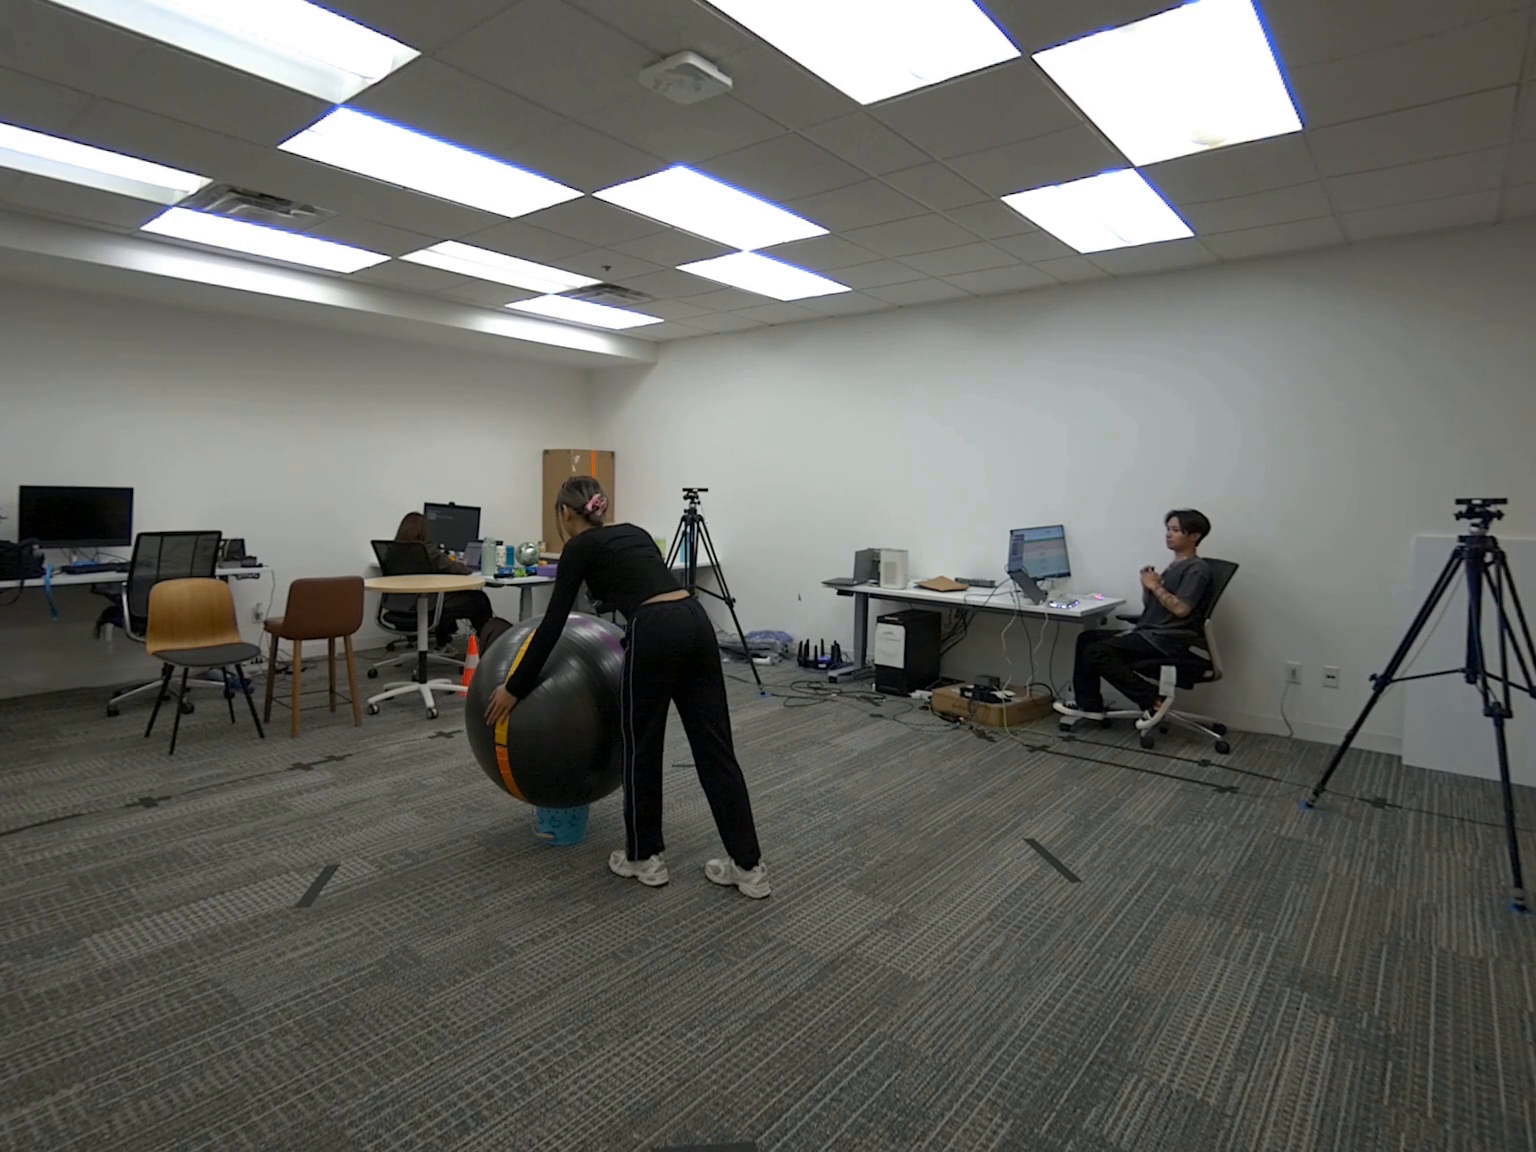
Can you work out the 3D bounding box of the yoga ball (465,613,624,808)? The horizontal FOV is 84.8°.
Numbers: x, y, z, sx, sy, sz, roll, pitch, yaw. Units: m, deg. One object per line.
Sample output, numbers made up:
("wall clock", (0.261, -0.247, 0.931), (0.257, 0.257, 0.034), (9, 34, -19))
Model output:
("yoga ball", (-0.825, 0.521, 3.363), (0.757, 0.755, 0.762), (1, 4, -2))
